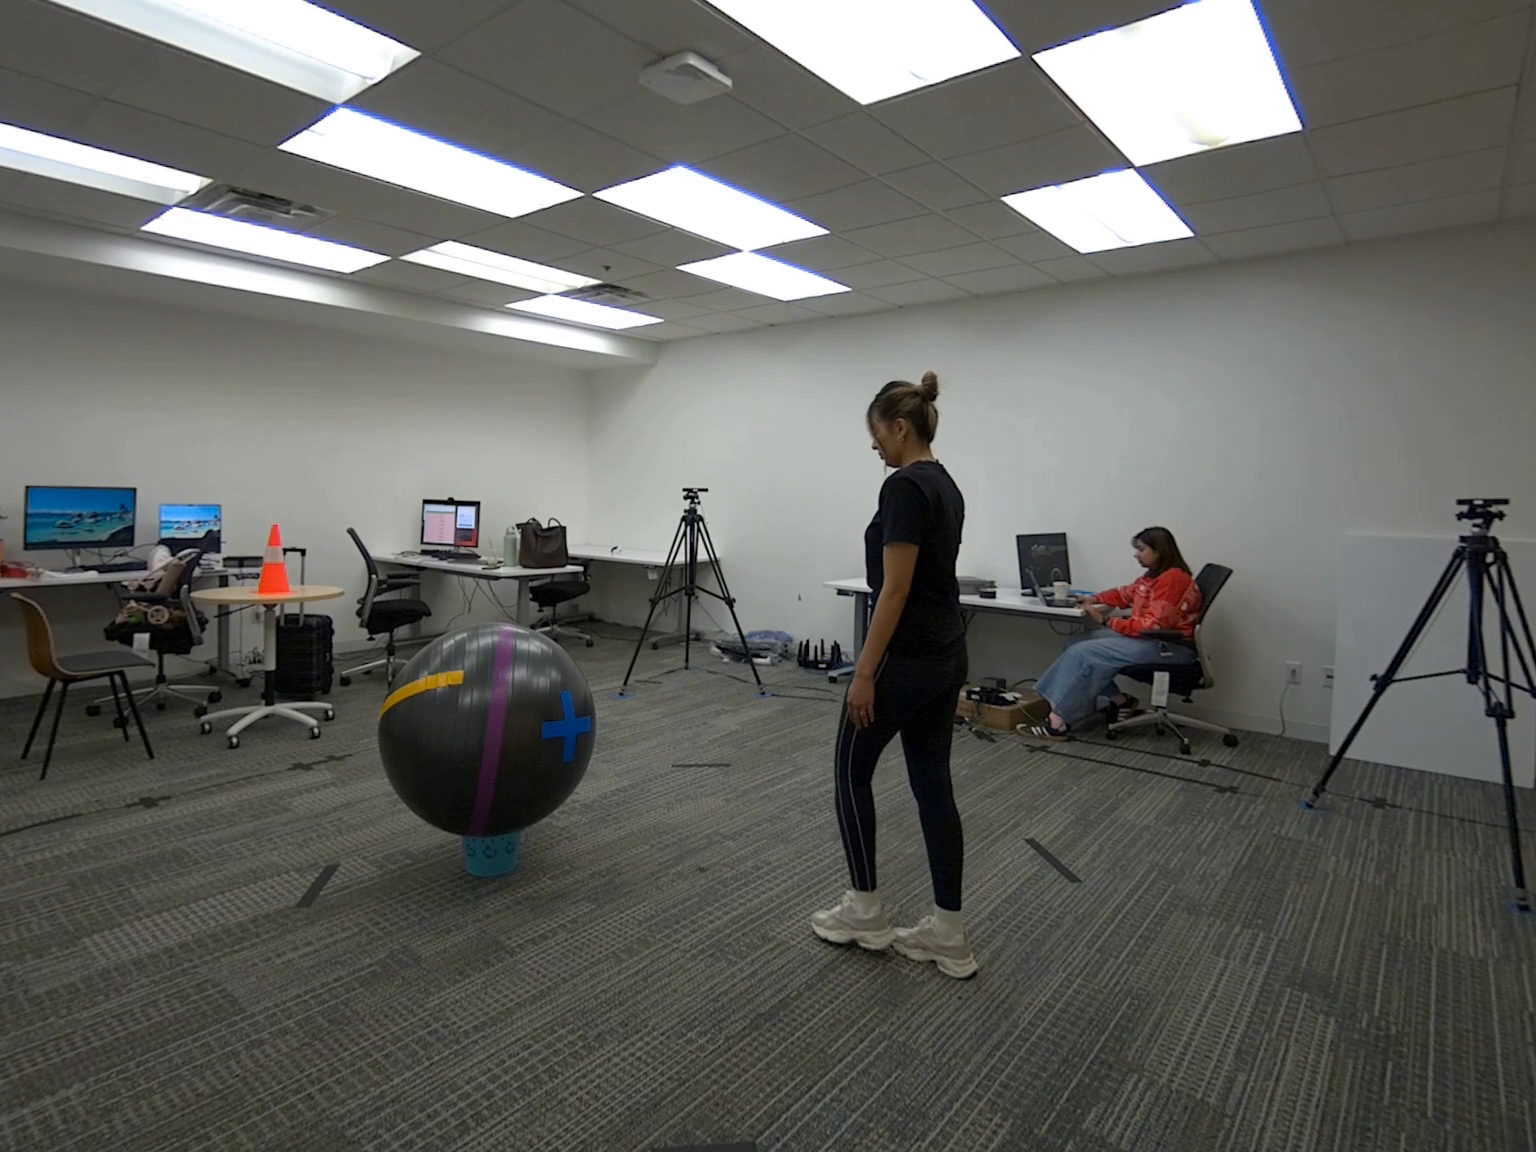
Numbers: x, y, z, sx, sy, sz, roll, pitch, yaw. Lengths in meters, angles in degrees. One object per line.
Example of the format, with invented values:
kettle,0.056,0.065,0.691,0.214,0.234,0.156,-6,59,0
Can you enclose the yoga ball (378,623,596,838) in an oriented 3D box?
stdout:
yoga ball,-1.019,0.550,3.081,0.757,0.756,0.762,1,4,-2
